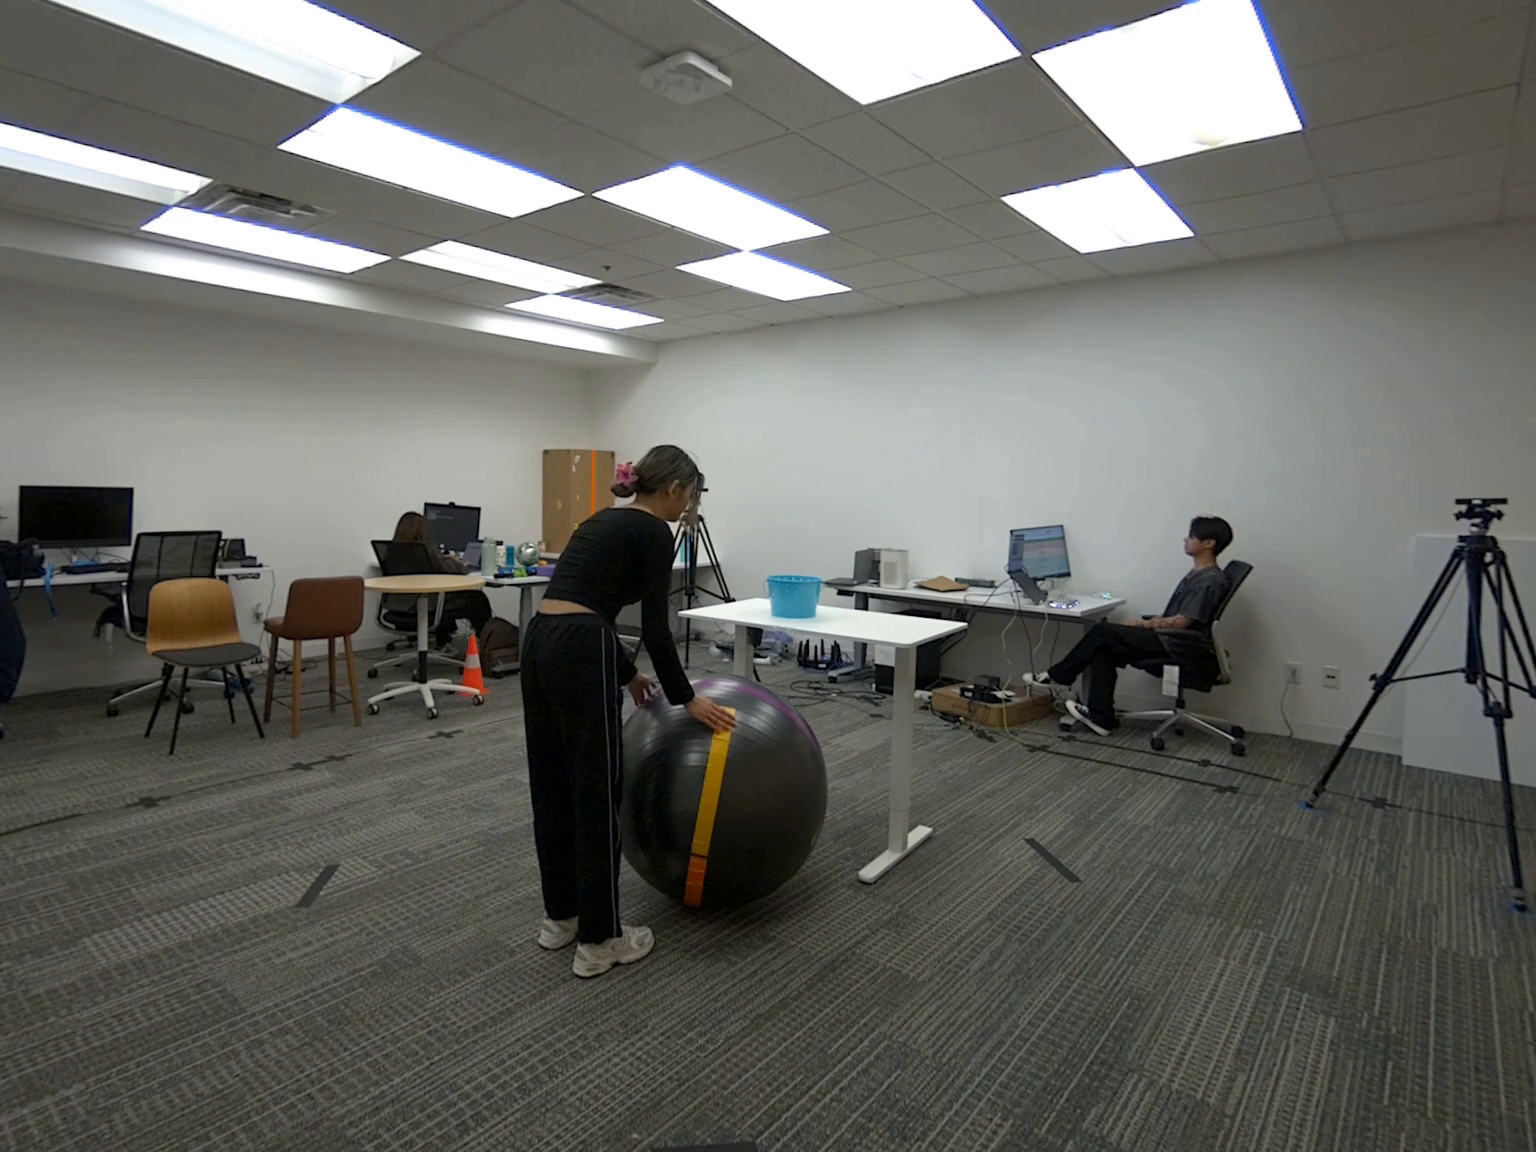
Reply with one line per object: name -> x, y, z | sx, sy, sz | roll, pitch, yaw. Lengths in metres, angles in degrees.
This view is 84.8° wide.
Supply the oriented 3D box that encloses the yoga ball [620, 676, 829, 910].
yoga ball -> -0.178, 0.719, 2.894 | 0.757, 0.756, 0.761 | 1, 4, -2
